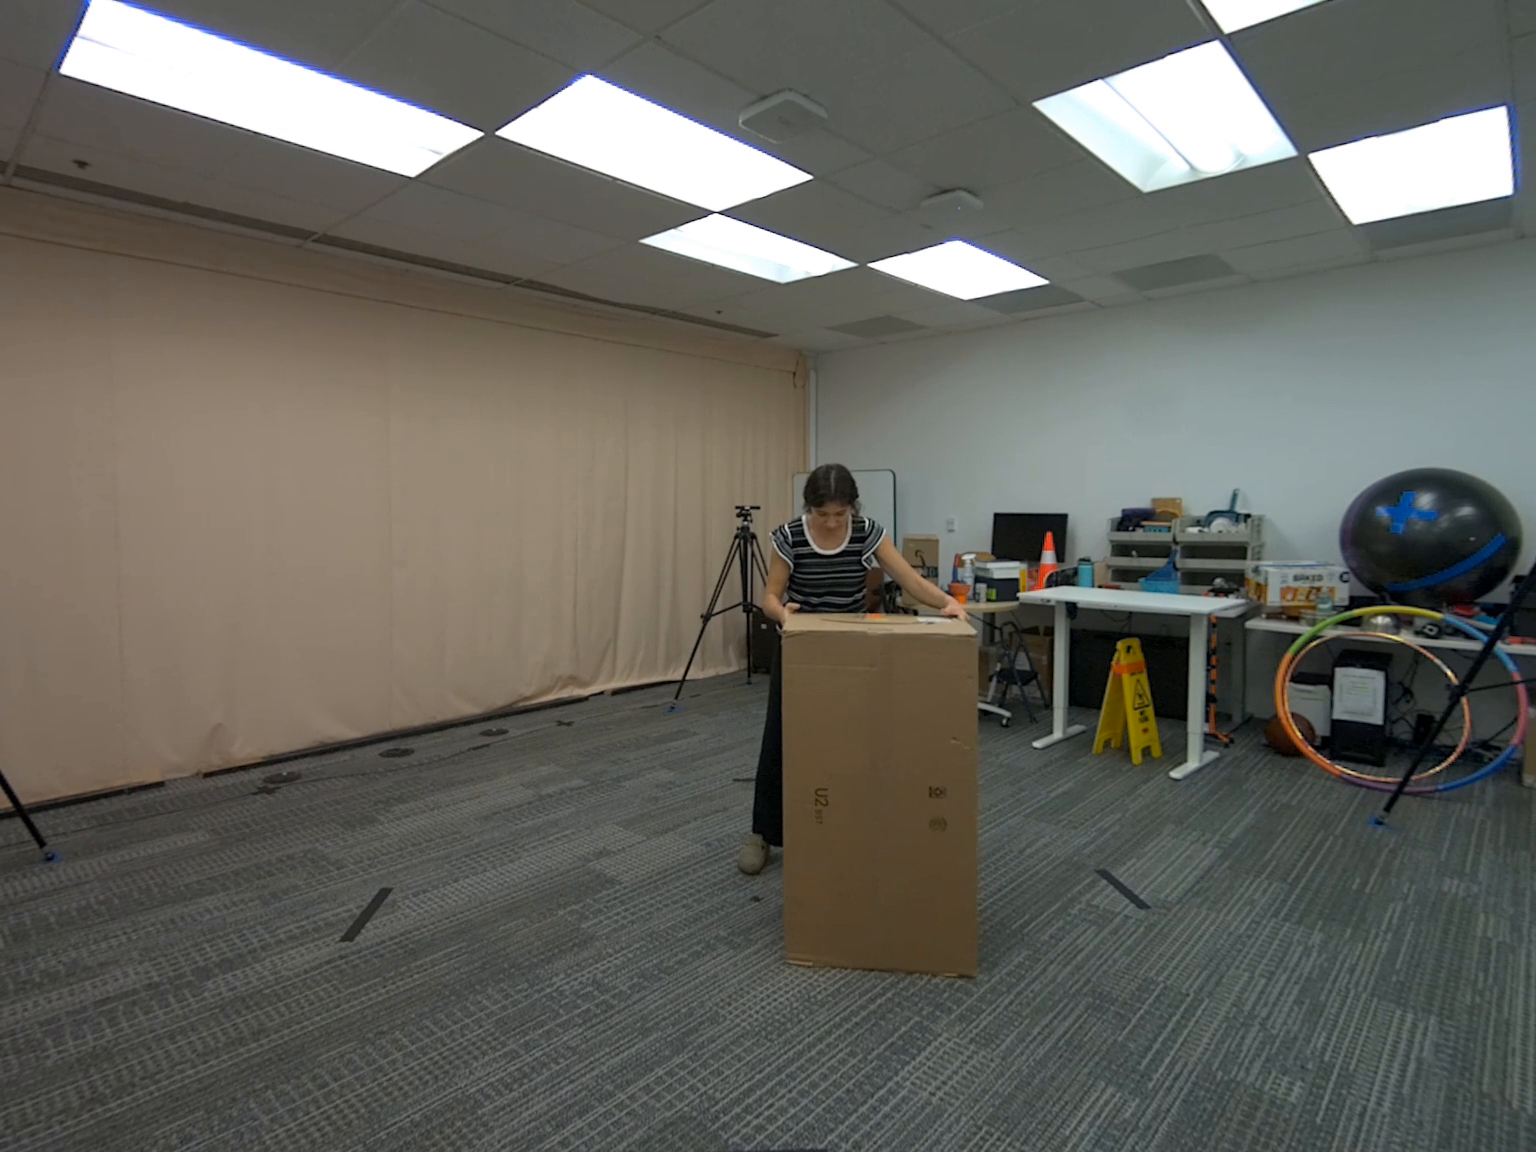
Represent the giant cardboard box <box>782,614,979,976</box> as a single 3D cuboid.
[{"bbox_3d":[0.357,0.661,2.701,0.583,1.024,0.423,0,3,7],"label":"giant cardboard box"}]
